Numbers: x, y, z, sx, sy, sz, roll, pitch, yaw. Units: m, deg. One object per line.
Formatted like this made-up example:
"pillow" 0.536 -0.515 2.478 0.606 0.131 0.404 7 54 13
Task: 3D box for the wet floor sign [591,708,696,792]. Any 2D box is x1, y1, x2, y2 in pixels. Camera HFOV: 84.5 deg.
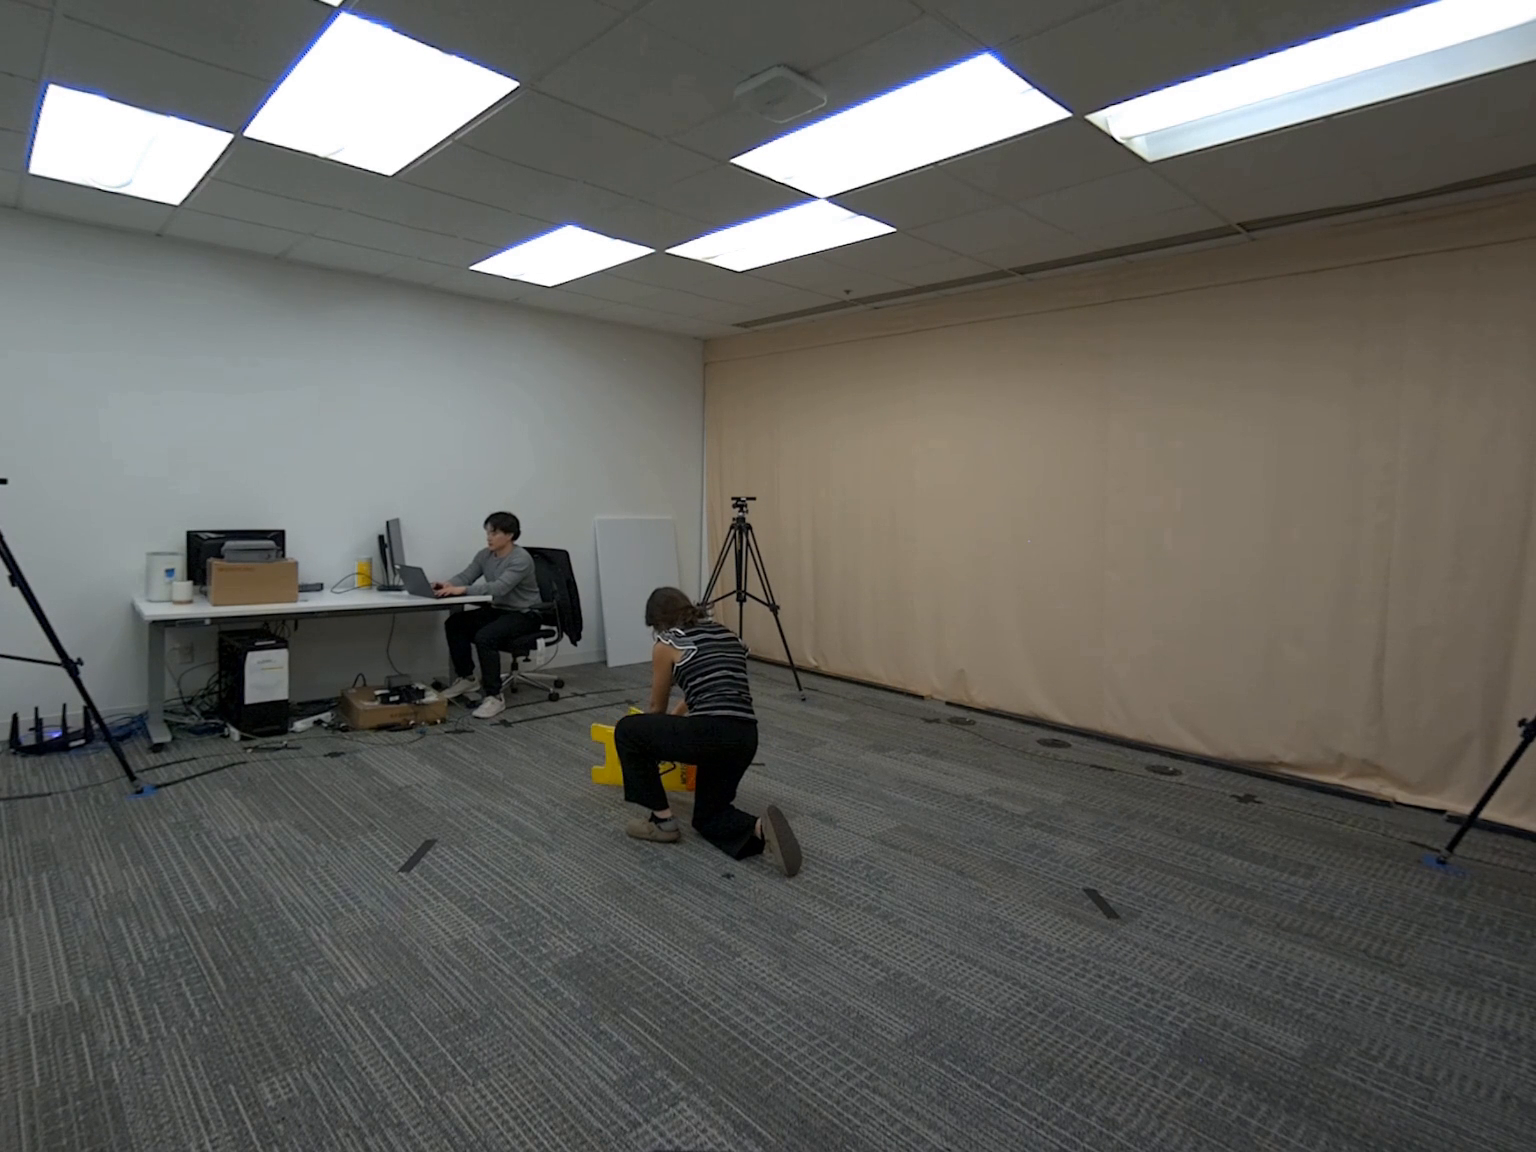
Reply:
"wet floor sign" -0.492 0.833 3.864 0.661 0.281 0.284 5 8 32
